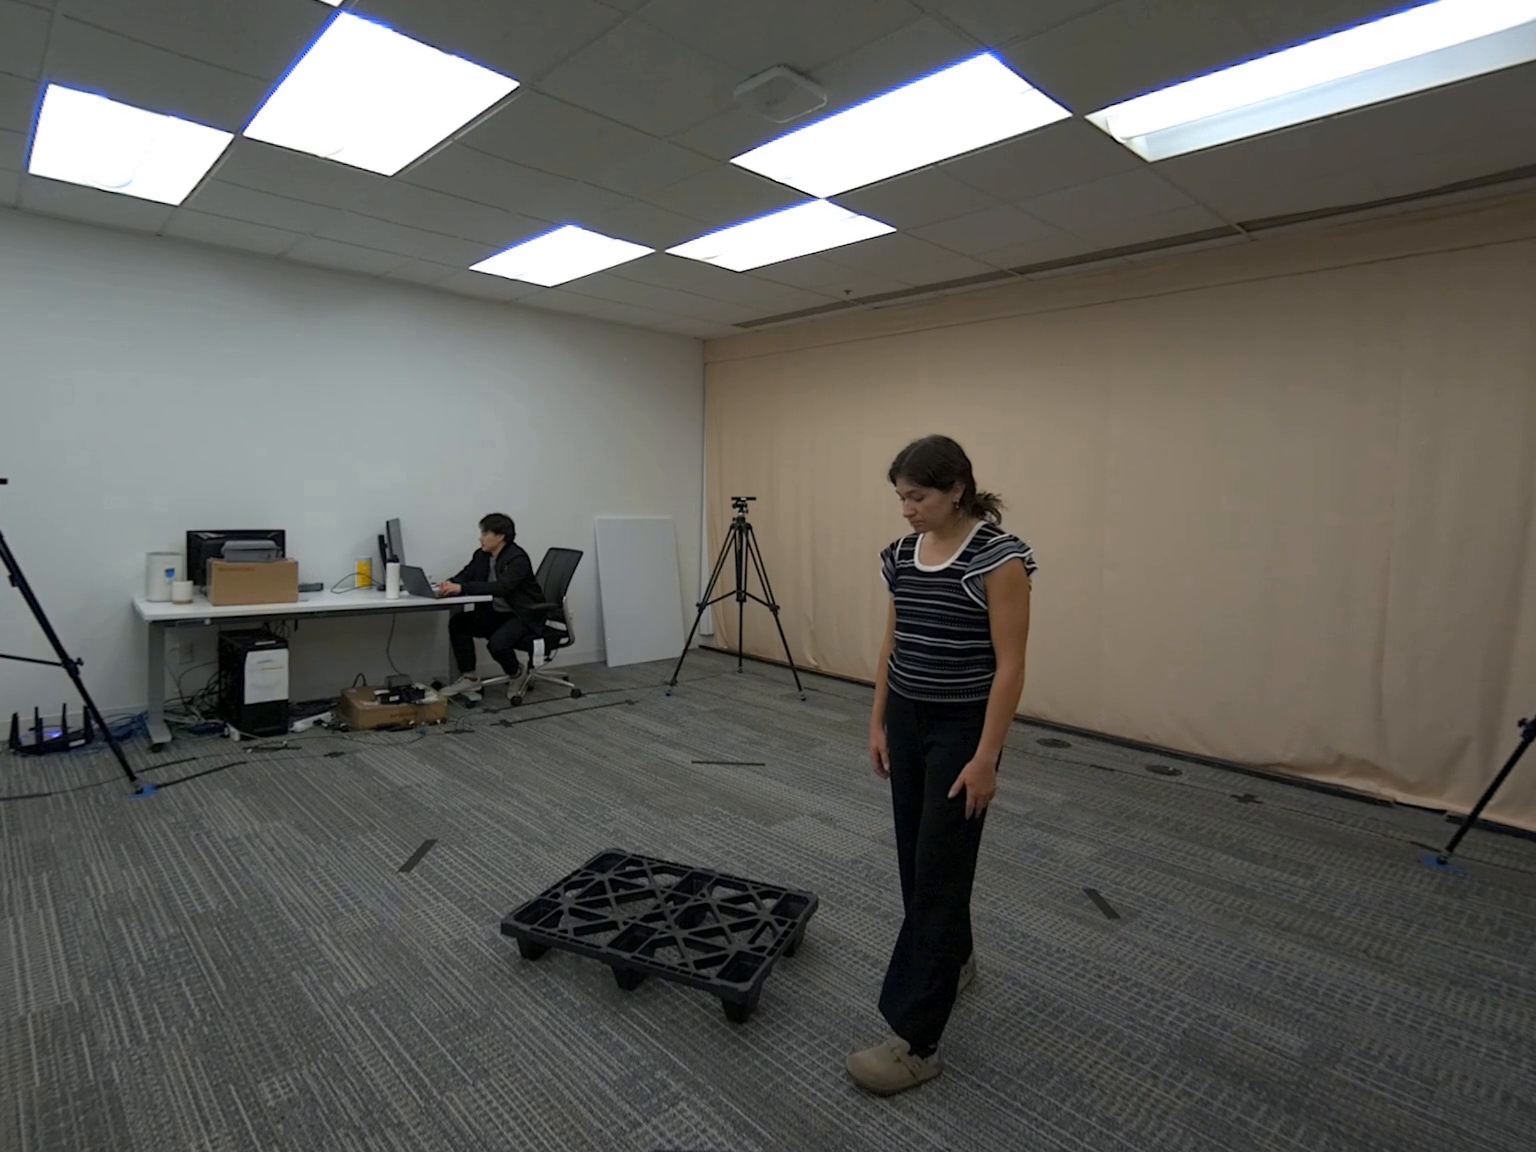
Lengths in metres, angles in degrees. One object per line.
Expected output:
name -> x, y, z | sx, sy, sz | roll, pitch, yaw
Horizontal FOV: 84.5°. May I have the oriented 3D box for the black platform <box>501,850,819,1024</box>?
black platform -> -0.323, 1.082, 2.588 | 0.820, 0.143, 0.596 | 4, 5, 23
